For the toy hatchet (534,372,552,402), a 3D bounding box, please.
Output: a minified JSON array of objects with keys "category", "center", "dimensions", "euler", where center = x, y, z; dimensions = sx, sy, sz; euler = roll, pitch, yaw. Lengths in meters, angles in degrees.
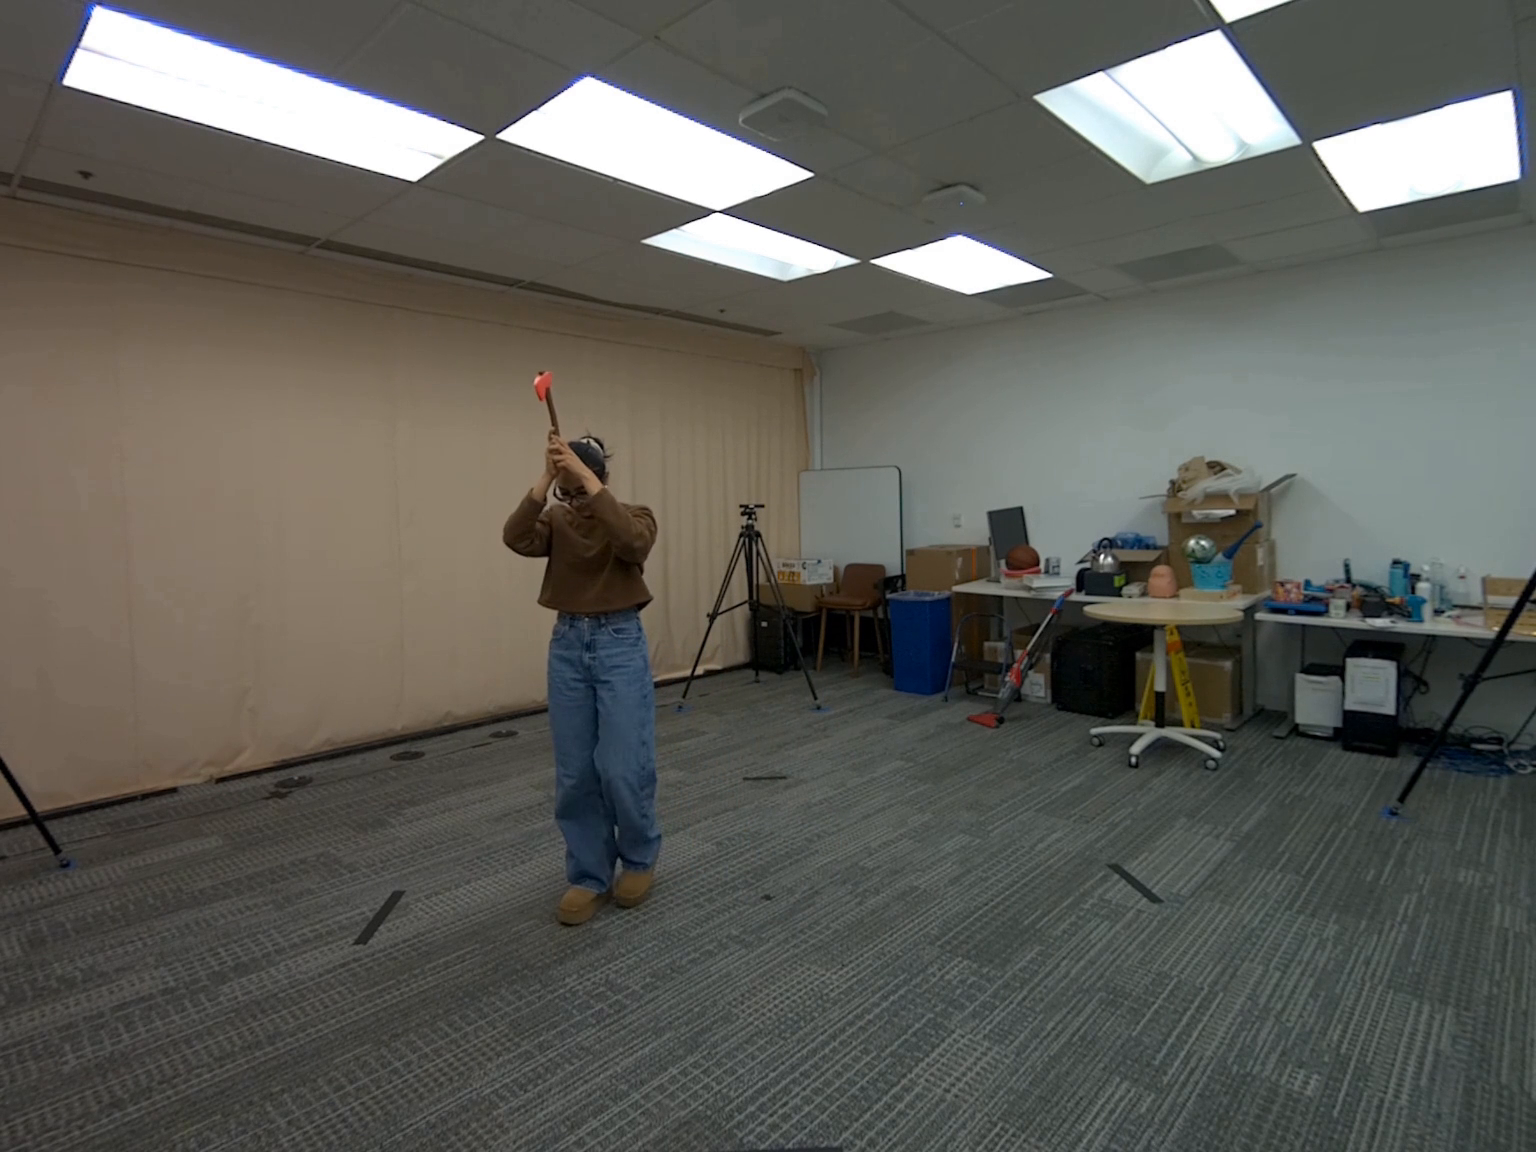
[{"category":"toy hatchet","center":[-0.683,-0.509,2.624],"dimensions":[0.030,0.268,0.131],"euler":[-5,10,7]}]
